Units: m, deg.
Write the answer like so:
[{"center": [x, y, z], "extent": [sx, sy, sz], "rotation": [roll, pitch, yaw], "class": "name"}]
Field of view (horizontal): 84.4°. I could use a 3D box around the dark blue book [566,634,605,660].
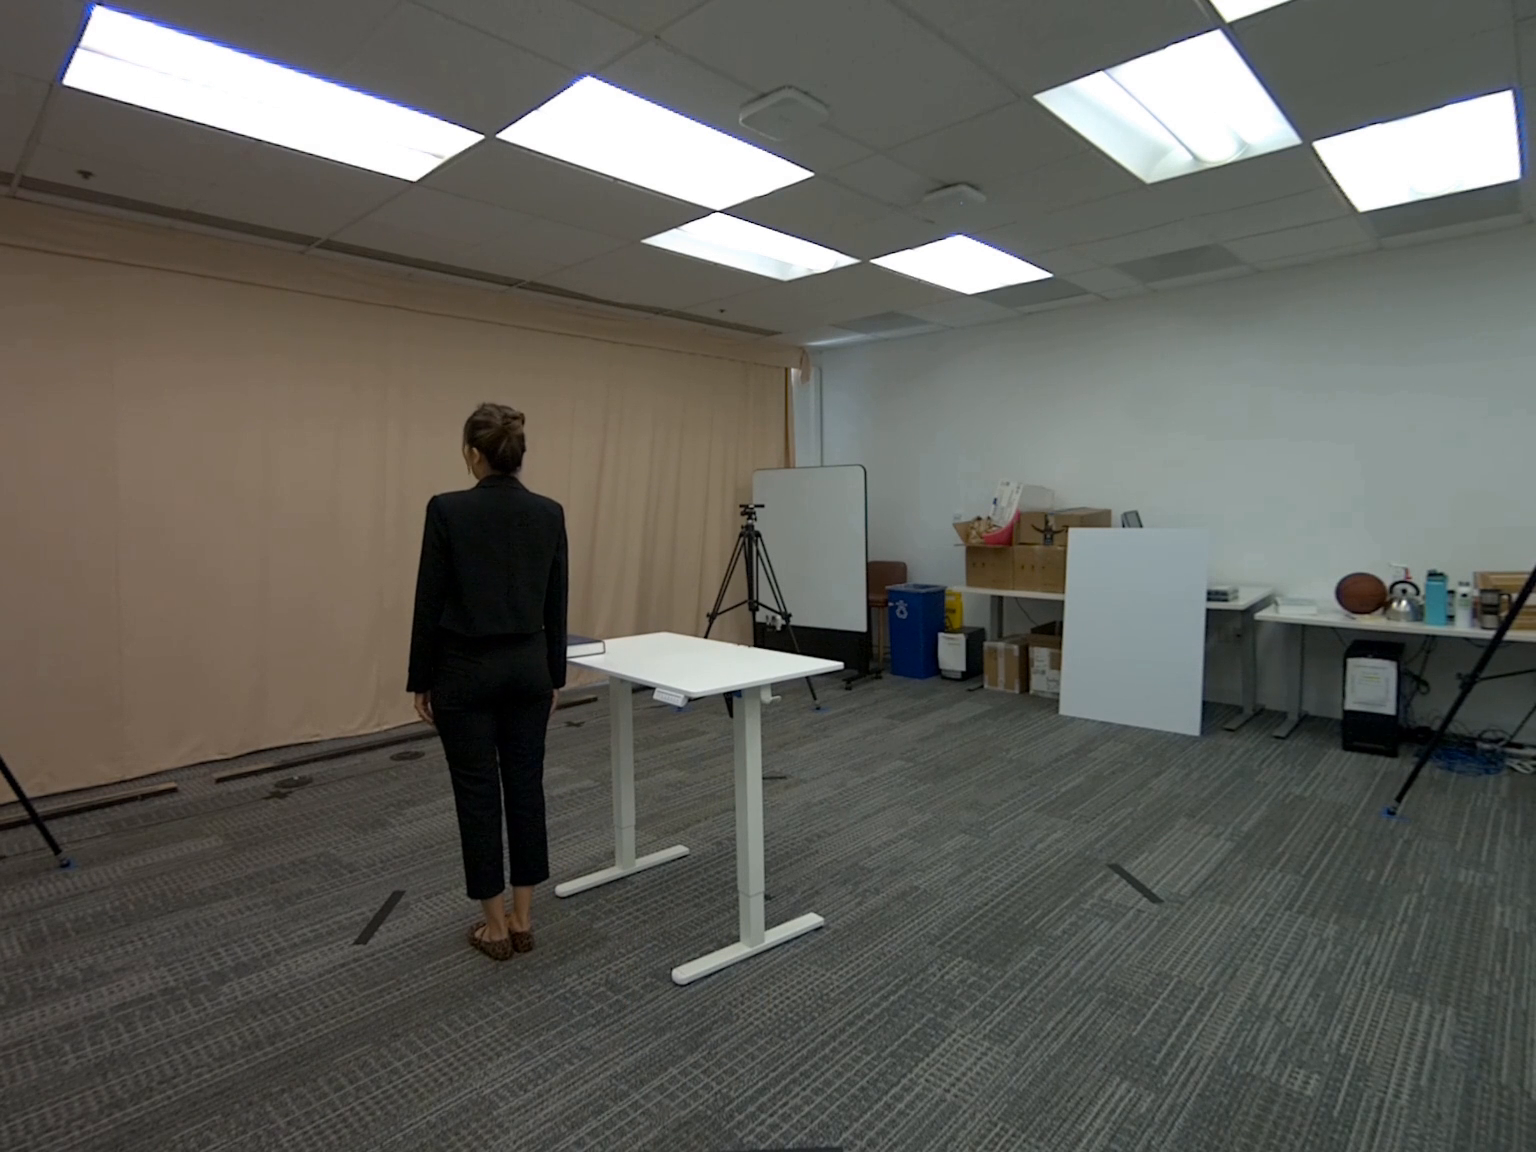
[{"center": [-0.700, 0.248, 3.019], "extent": [0.159, 0.045, 0.253], "rotation": [-4, 6, -36], "class": "dark blue book"}]
